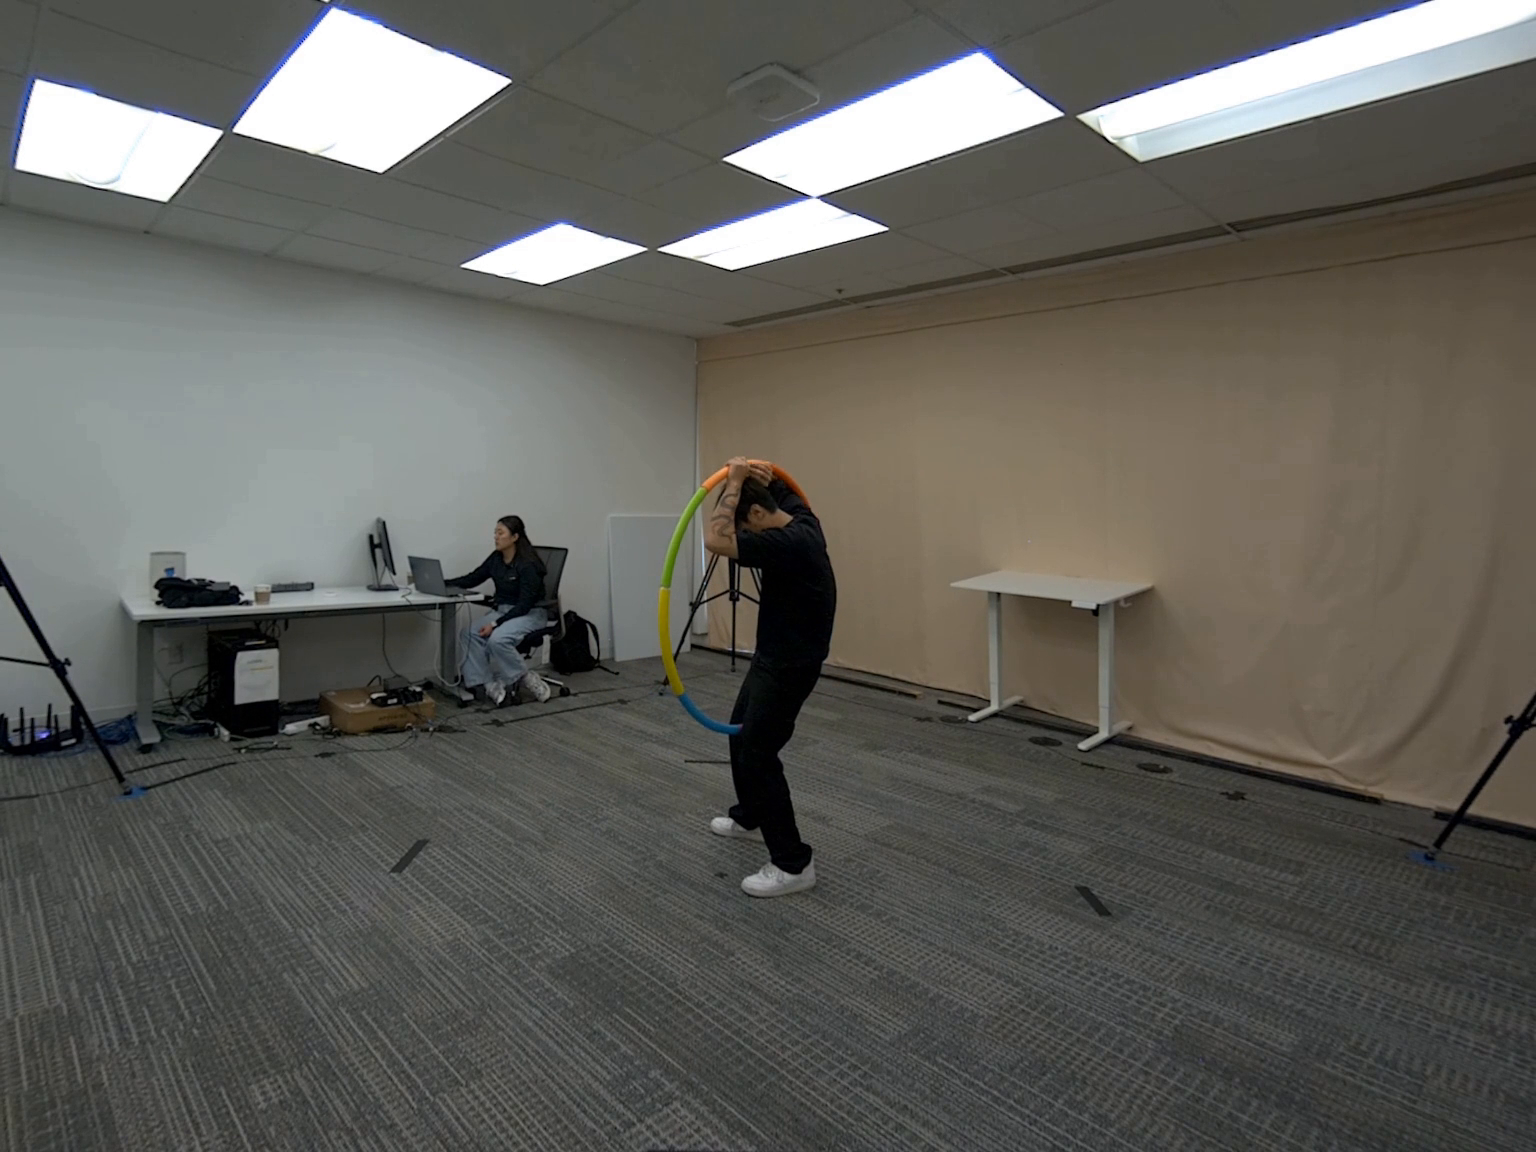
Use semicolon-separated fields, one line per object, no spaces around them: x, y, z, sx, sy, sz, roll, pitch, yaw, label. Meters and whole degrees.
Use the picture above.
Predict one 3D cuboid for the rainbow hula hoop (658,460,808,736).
-0.066;0.070;3.068;0.036;0.976;0.957;5;6;37;rainbow hula hoop
